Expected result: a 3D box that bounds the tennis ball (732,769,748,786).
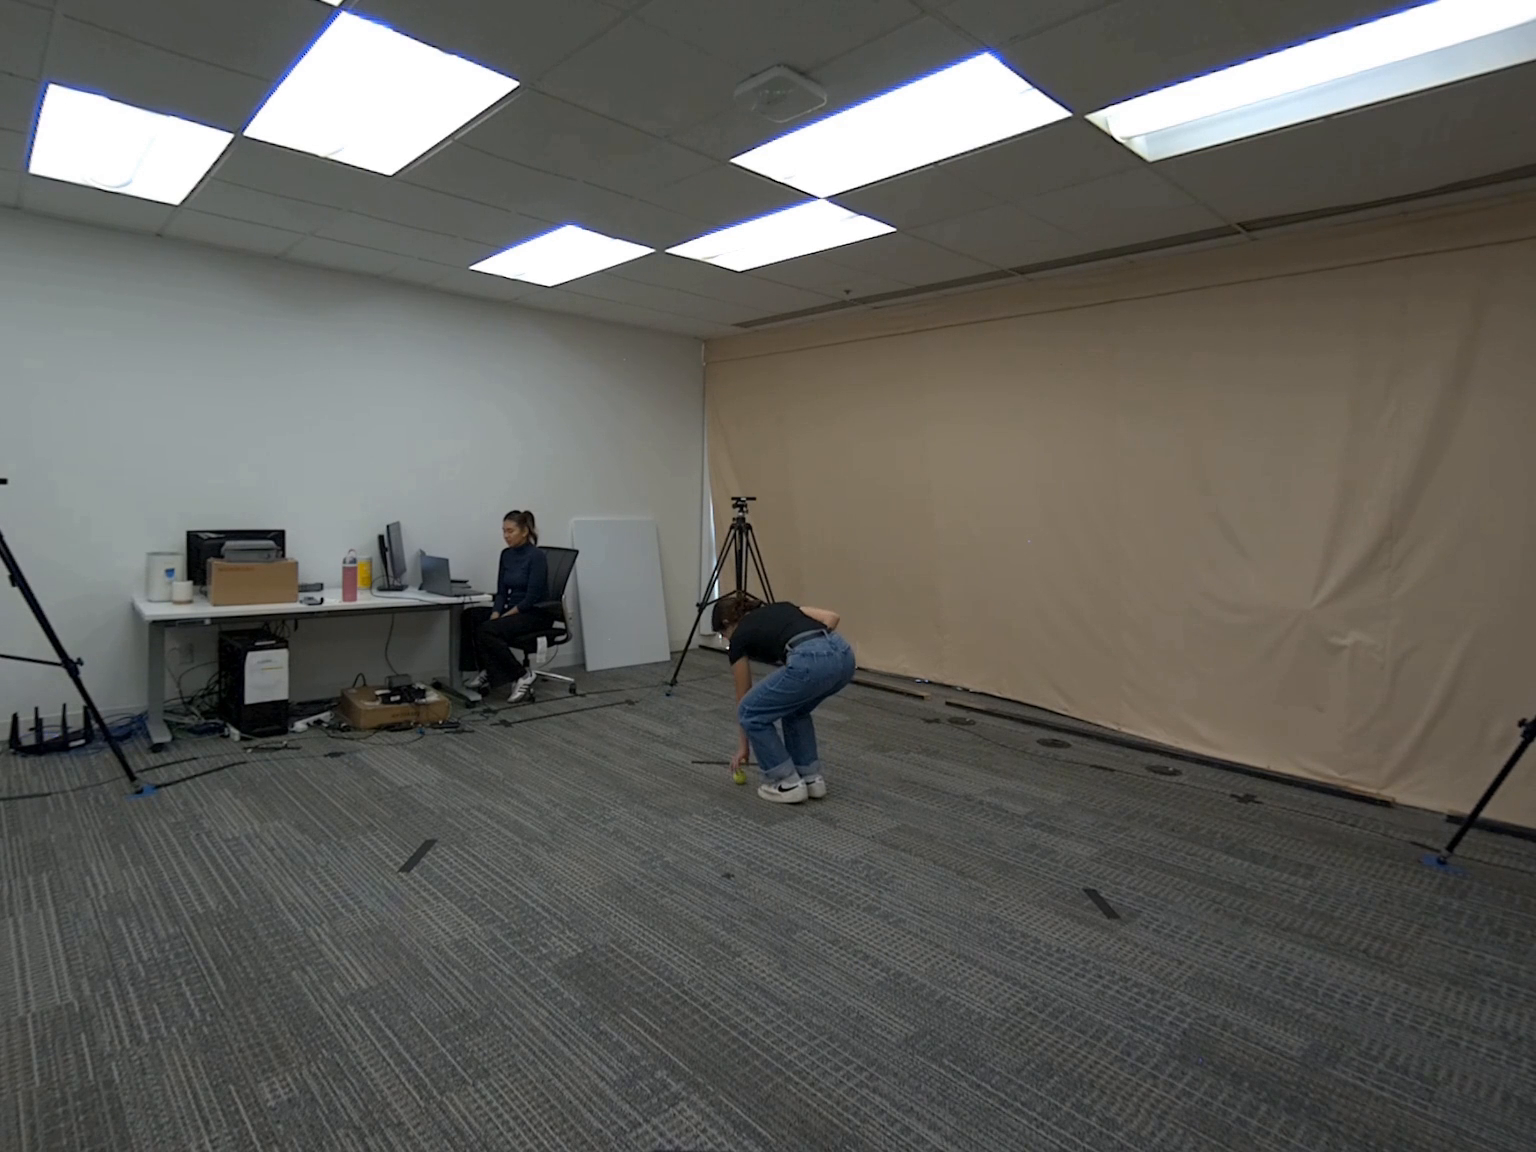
[{"bbox_3d":[-0.128,0.976,4.139,0.066,0.066,0.067,1,4,-1],"label":"tennis ball"}]
